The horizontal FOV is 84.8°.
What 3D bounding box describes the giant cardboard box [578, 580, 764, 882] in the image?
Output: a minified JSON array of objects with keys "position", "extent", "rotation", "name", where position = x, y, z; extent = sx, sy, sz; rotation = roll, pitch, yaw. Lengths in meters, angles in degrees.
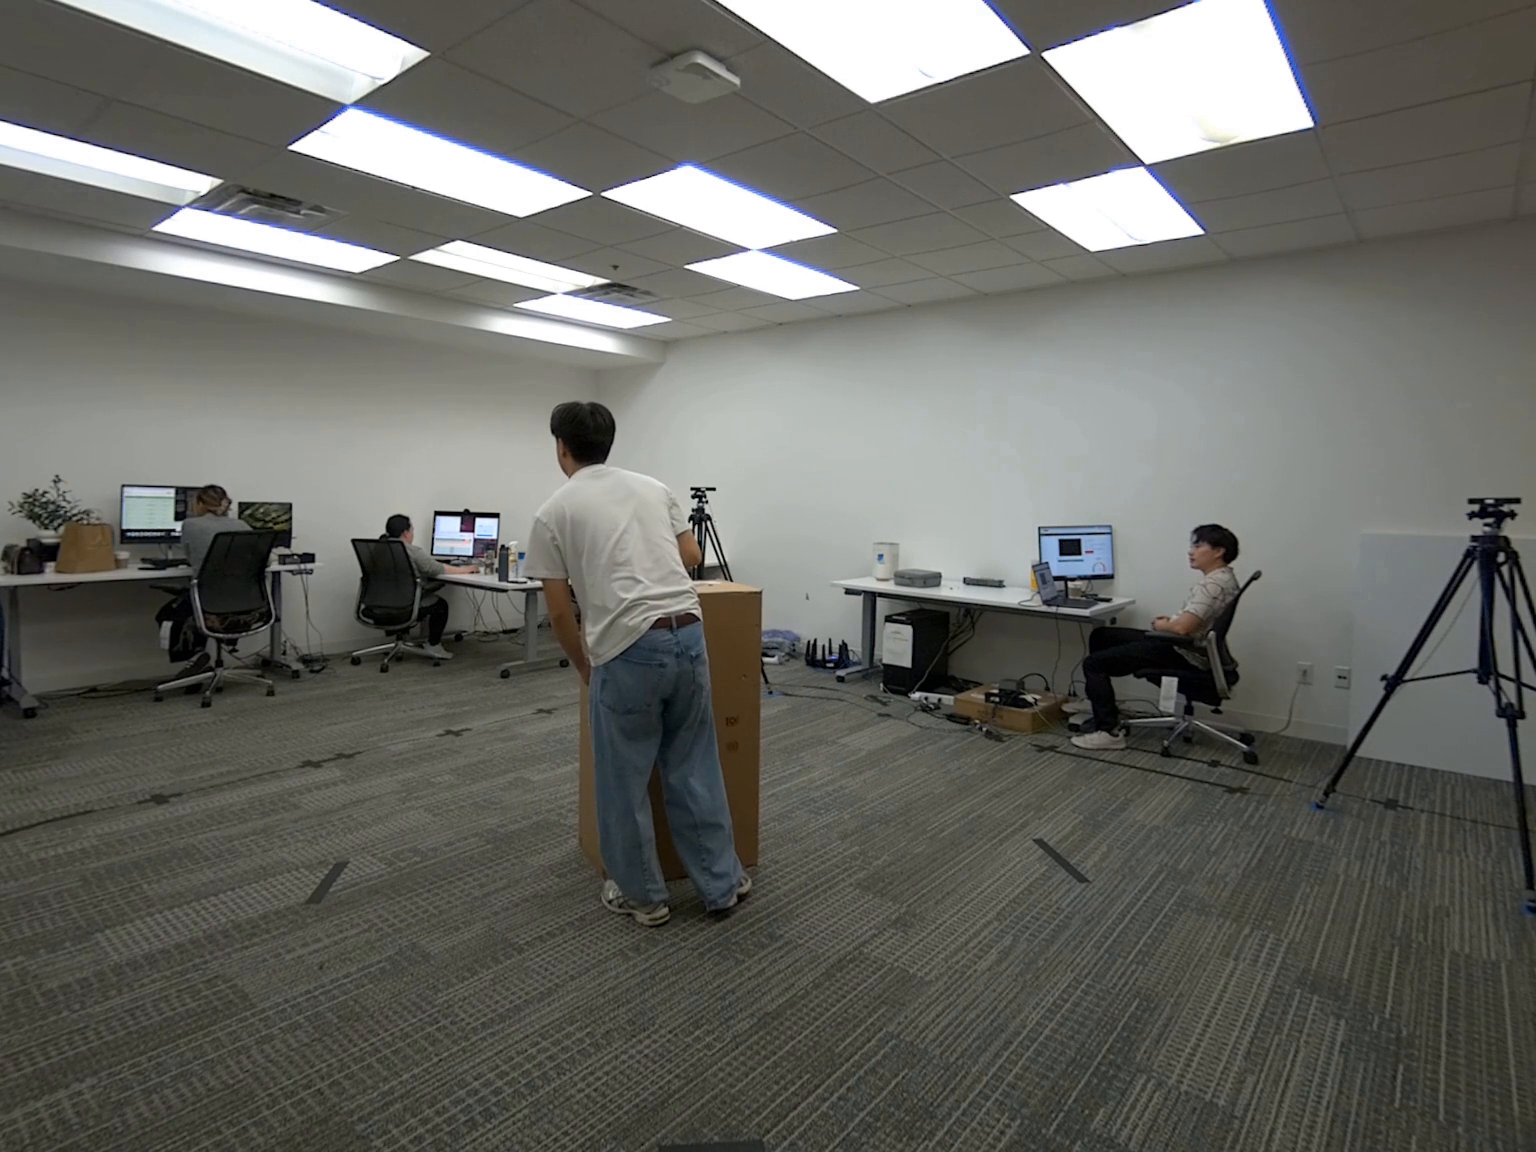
[{"position":[-0.385,0.543,3.203],"extent":[0.563,1.024,0.438],"rotation":[-1,3,-26],"name":"giant cardboard box"}]
